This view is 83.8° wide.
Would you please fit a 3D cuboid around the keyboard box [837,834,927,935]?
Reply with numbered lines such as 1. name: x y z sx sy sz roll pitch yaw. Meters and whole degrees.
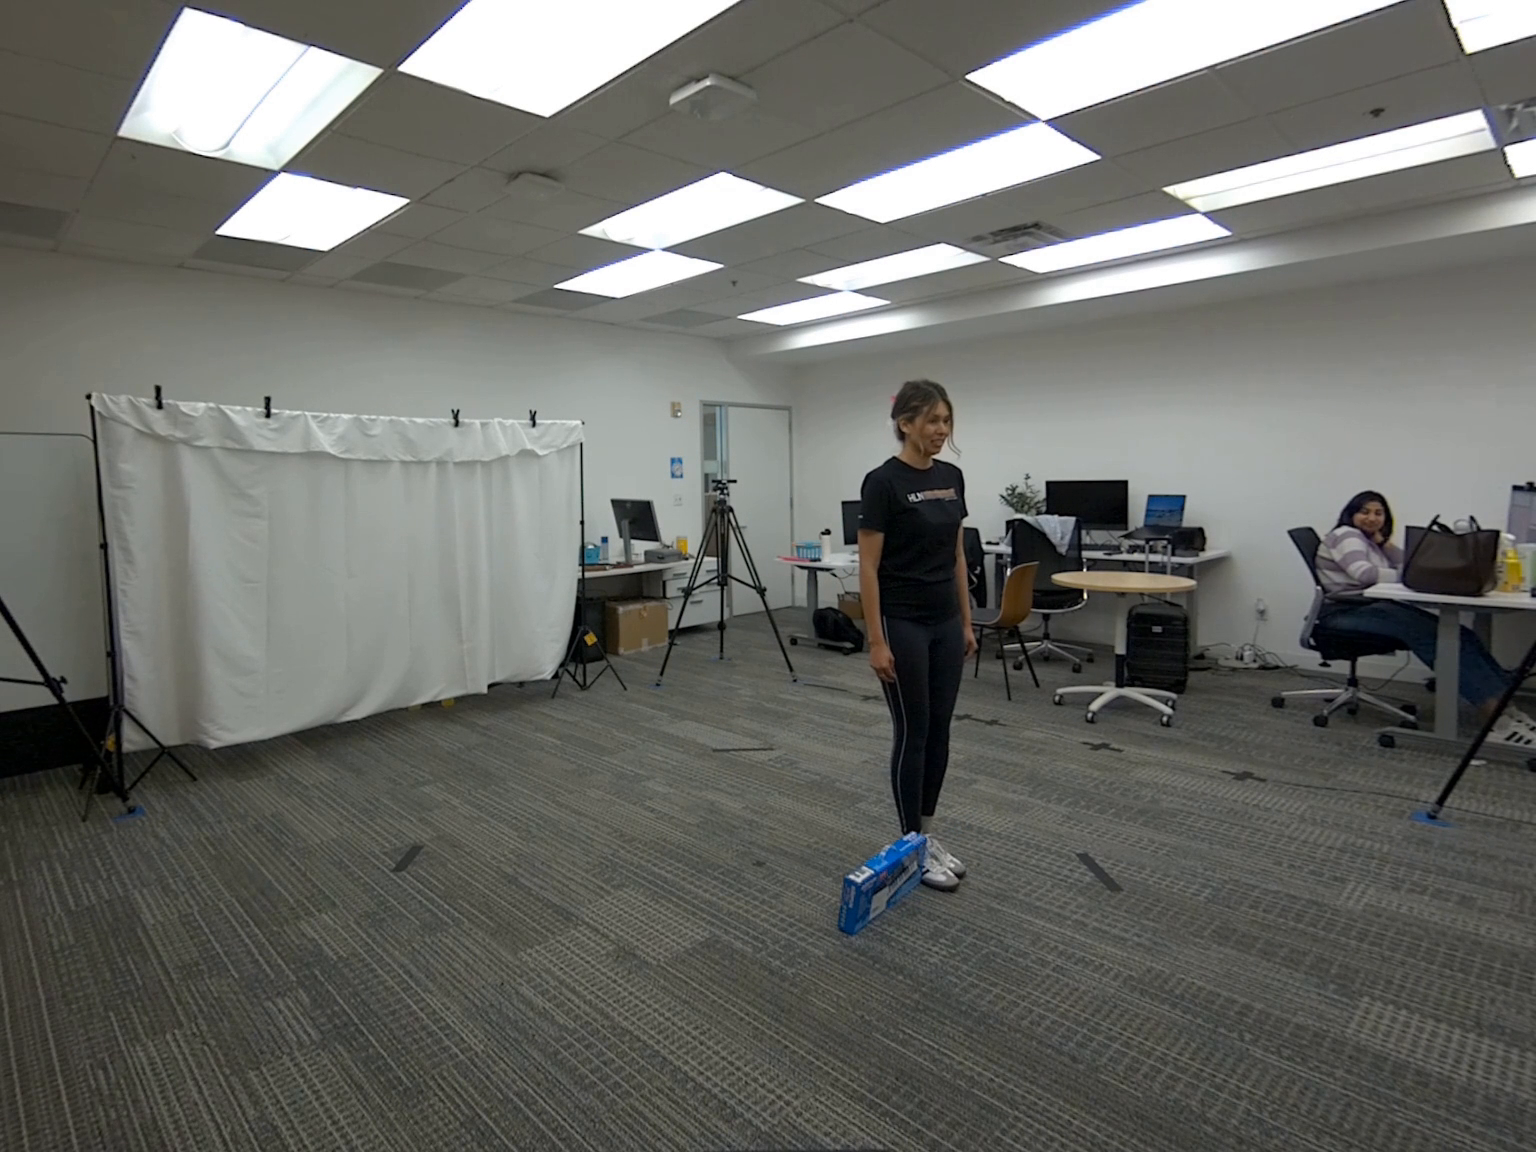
1. keyboard box: 0.381 0.992 2.774 0.061 0.174 0.426 12 13 37
